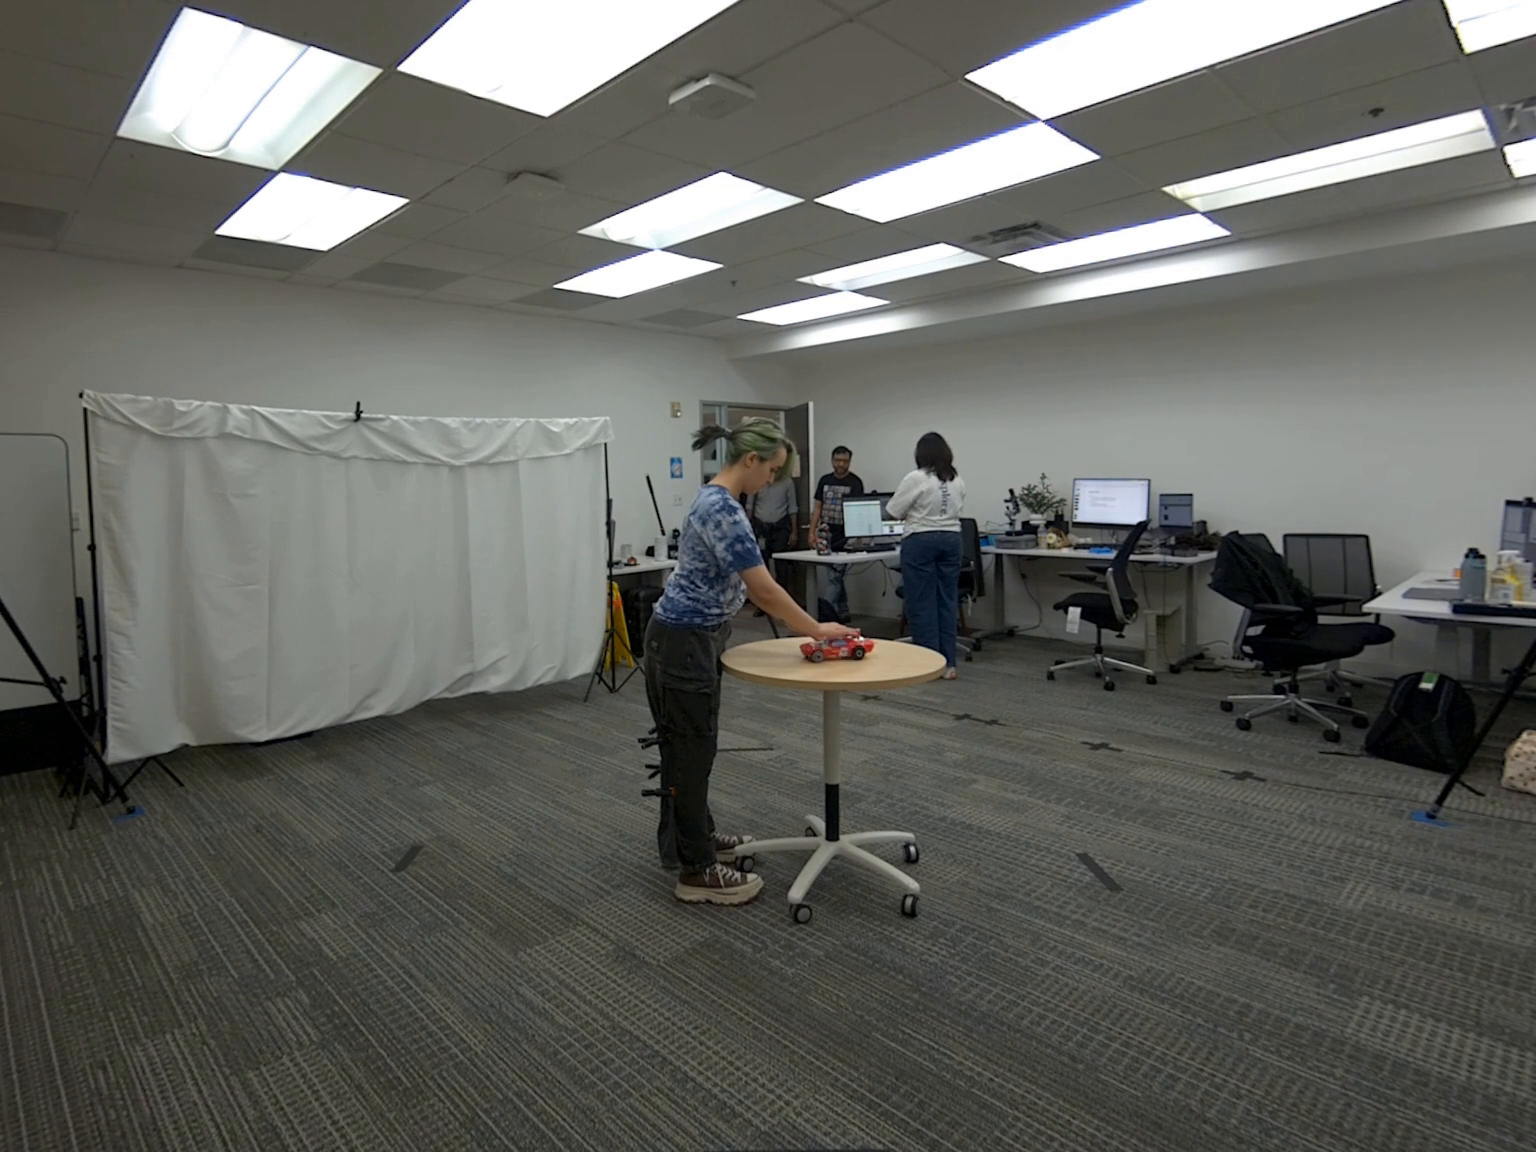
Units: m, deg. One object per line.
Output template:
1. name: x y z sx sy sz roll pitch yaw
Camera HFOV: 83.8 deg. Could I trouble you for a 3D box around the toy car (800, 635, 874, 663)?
1. toy car: 0.245 0.245 2.910 0.252 0.083 0.132 -13 7 -12
